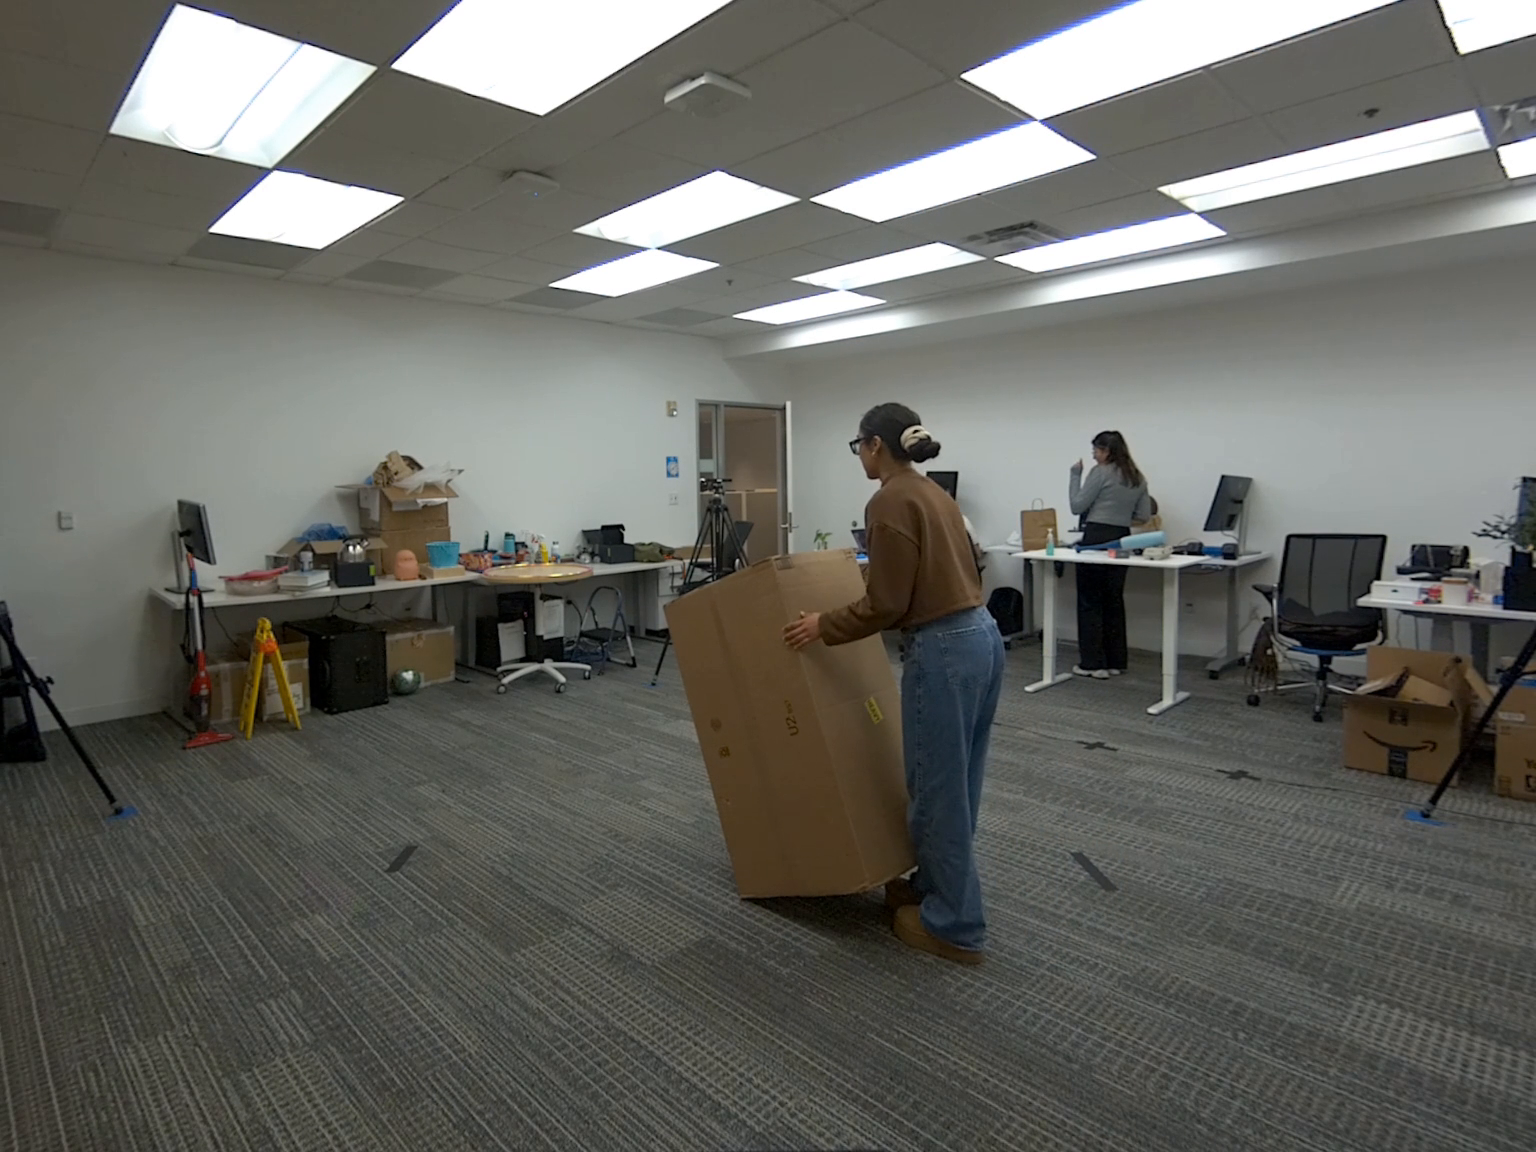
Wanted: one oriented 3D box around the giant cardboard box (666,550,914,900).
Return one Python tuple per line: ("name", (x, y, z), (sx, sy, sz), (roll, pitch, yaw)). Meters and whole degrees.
("giant cardboard box", (0.104, 0.489, 2.901), (0.415, 1.040, 0.585), (-4, -16, -46))
